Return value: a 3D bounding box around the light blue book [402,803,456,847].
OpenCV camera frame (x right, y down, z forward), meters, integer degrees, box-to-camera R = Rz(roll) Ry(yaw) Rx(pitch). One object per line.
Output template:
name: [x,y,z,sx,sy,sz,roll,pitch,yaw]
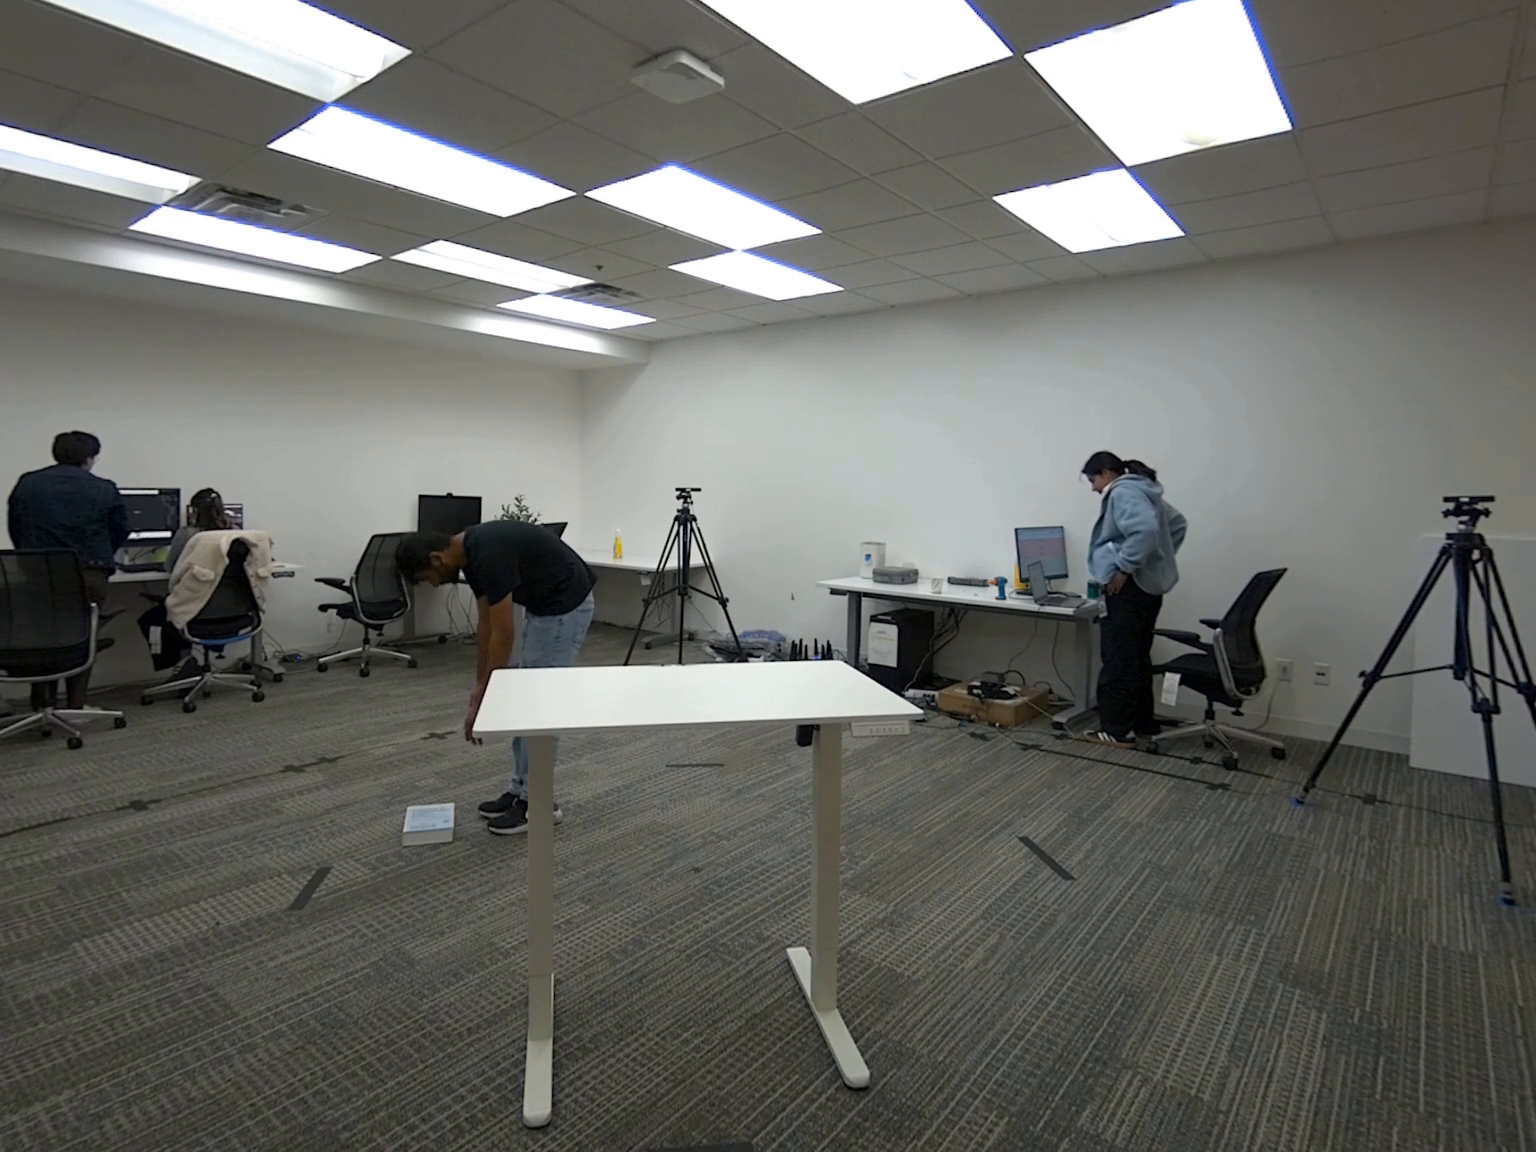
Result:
light blue book: [-1.379,0.997,3.422,0.188,0.059,0.267,-1,6,-19]
